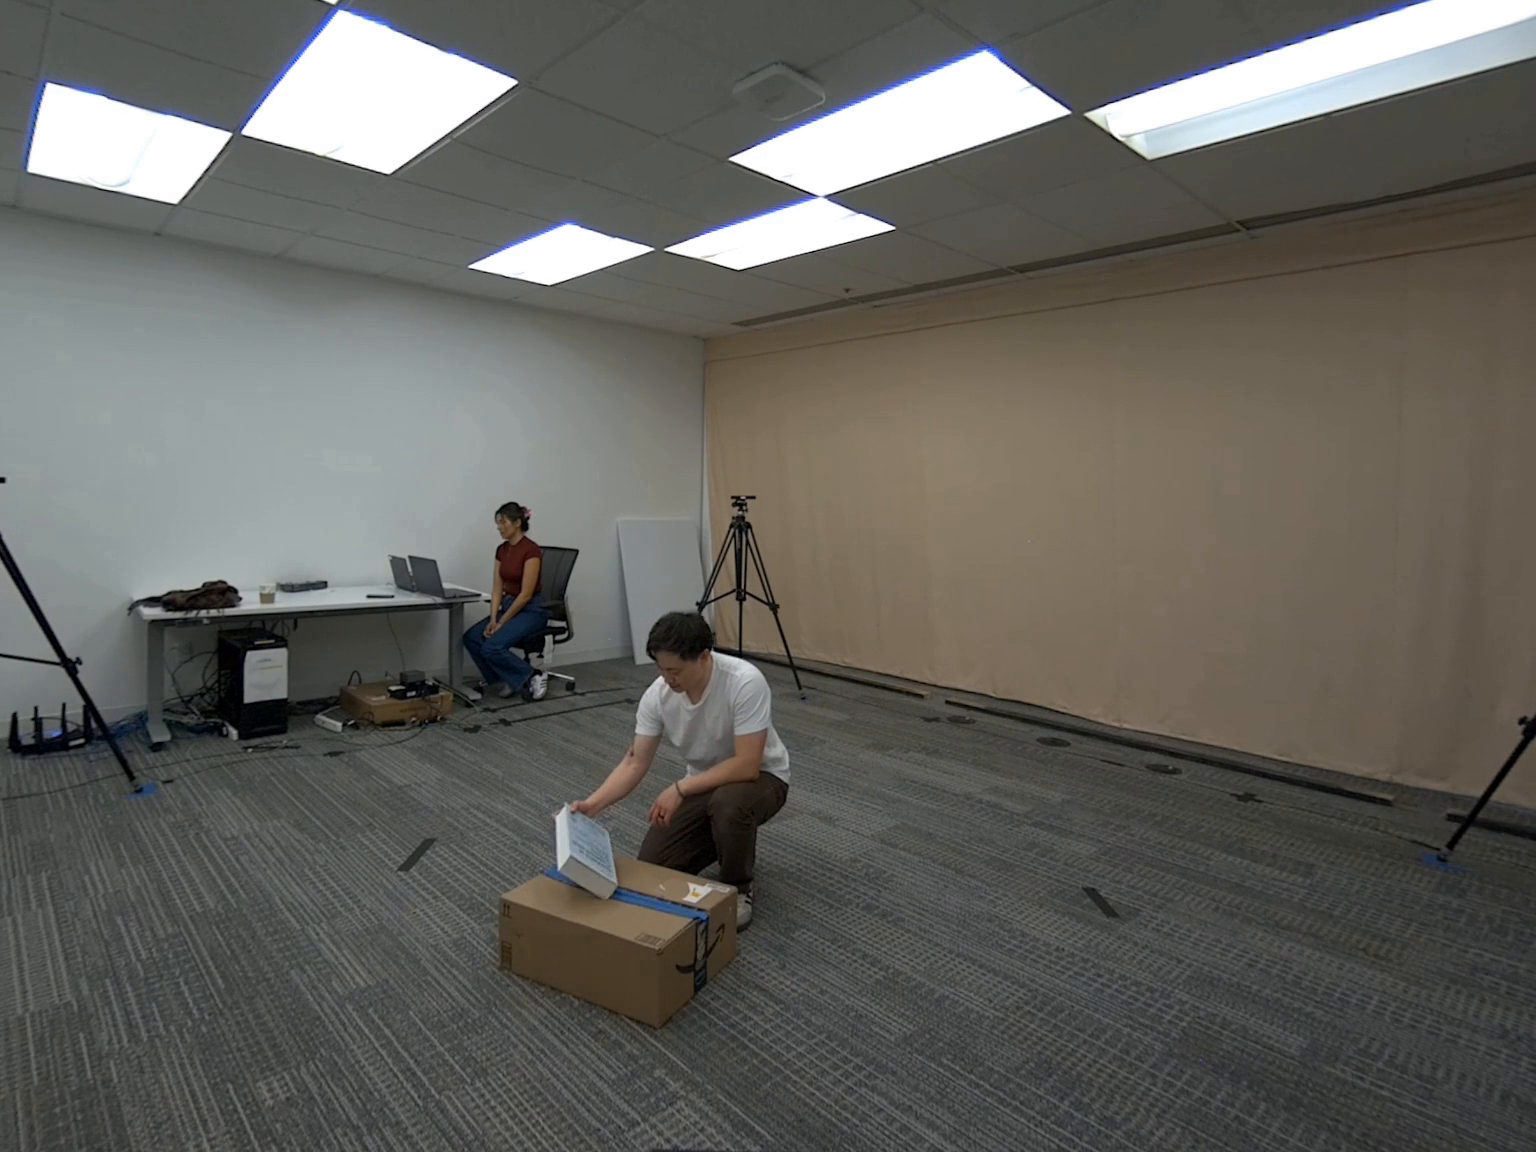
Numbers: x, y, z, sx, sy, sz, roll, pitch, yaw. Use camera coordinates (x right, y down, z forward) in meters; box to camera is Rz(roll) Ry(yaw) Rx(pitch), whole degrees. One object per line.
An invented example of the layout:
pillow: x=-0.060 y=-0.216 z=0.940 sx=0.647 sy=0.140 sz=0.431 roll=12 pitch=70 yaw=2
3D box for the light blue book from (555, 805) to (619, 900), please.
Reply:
light blue book: x=-0.558 y=0.831 z=2.548 sx=0.187 sy=0.059 sz=0.267 roll=42 pitch=2 yaw=-24
